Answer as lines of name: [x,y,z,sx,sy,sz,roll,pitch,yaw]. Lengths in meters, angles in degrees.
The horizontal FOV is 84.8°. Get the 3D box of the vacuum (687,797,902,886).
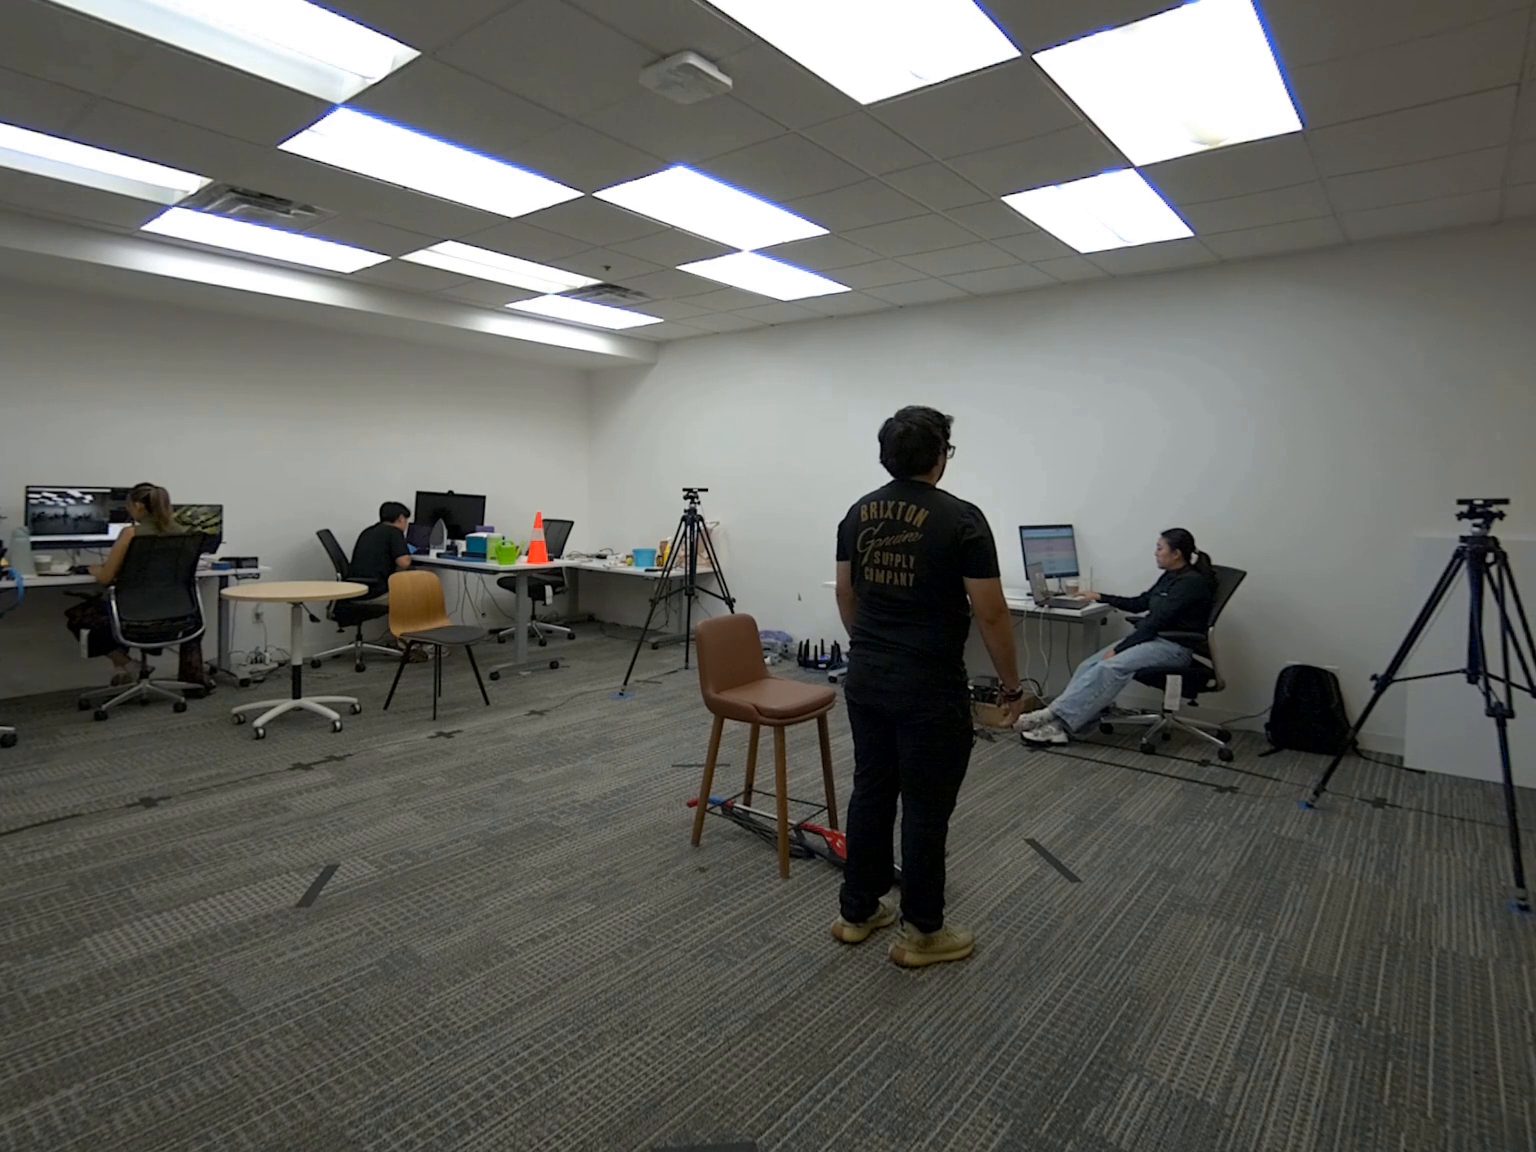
vacuum: [0.103,1.004,3.282,1.083,0.143,0.245,4,5,36]
